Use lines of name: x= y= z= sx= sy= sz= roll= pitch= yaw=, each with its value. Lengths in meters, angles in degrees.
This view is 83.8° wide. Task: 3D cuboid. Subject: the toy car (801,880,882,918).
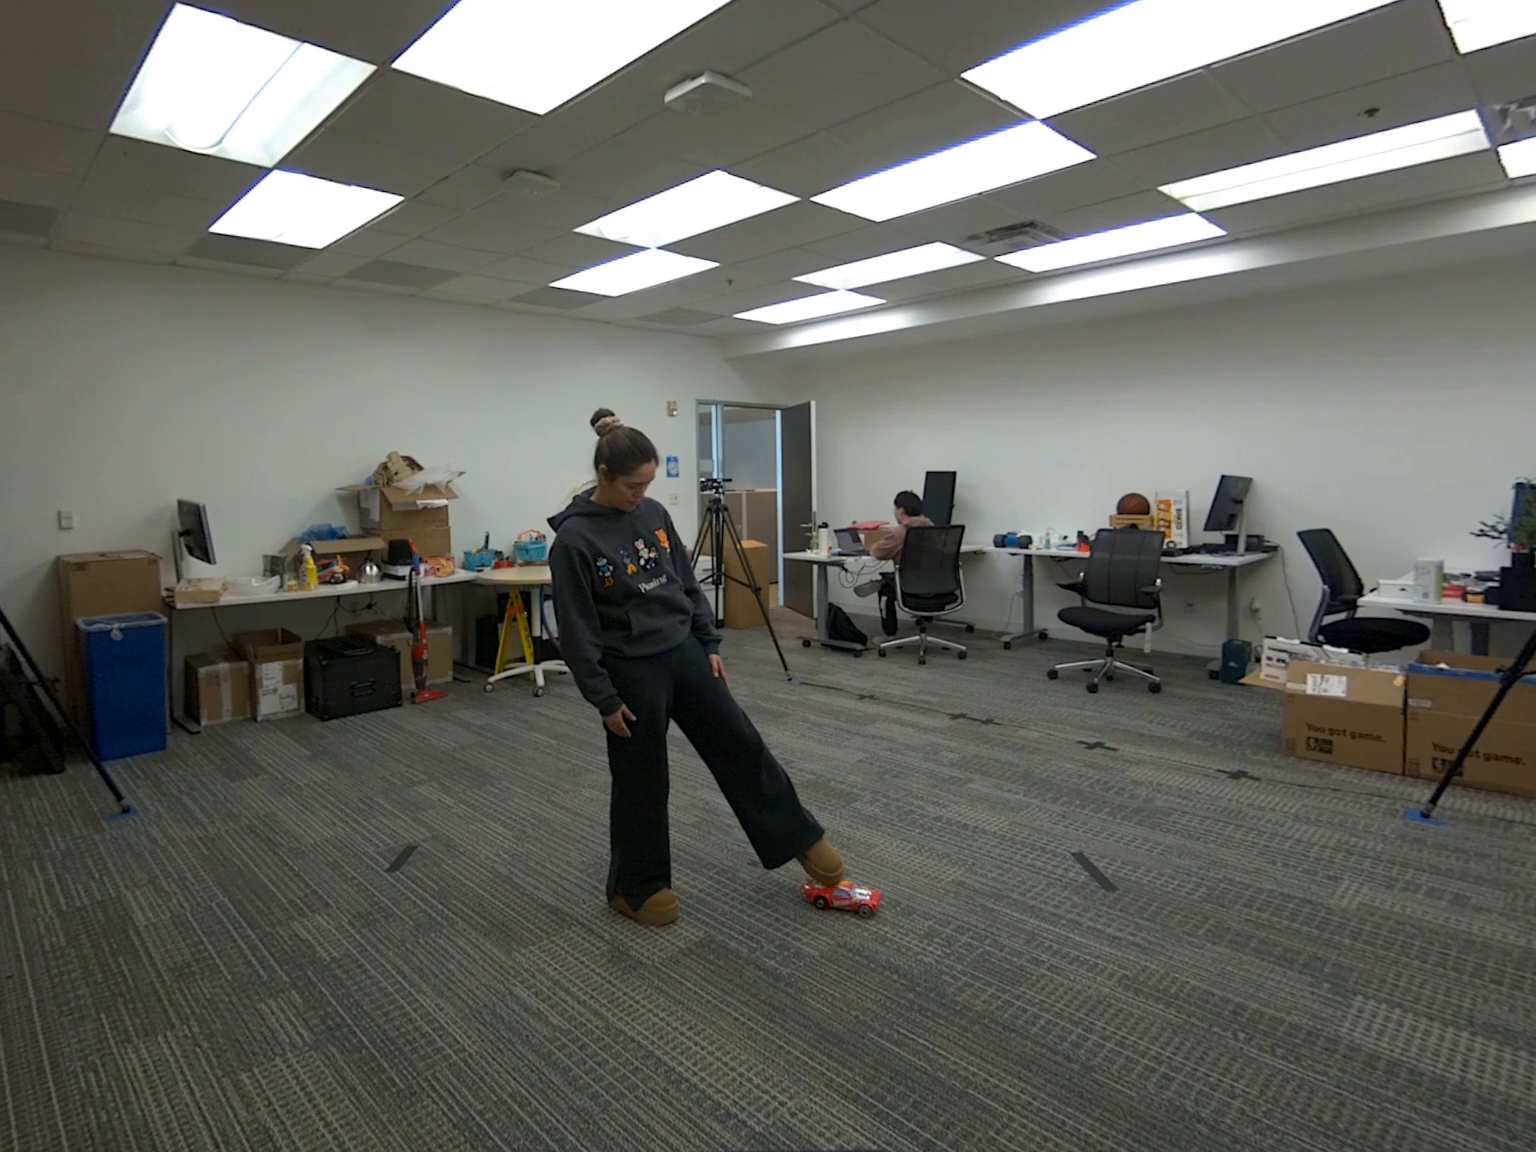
toy car: x=0.236 y=1.043 z=2.777 sx=0.261 sy=0.083 sz=0.128 roll=12 pitch=9 yaw=22
